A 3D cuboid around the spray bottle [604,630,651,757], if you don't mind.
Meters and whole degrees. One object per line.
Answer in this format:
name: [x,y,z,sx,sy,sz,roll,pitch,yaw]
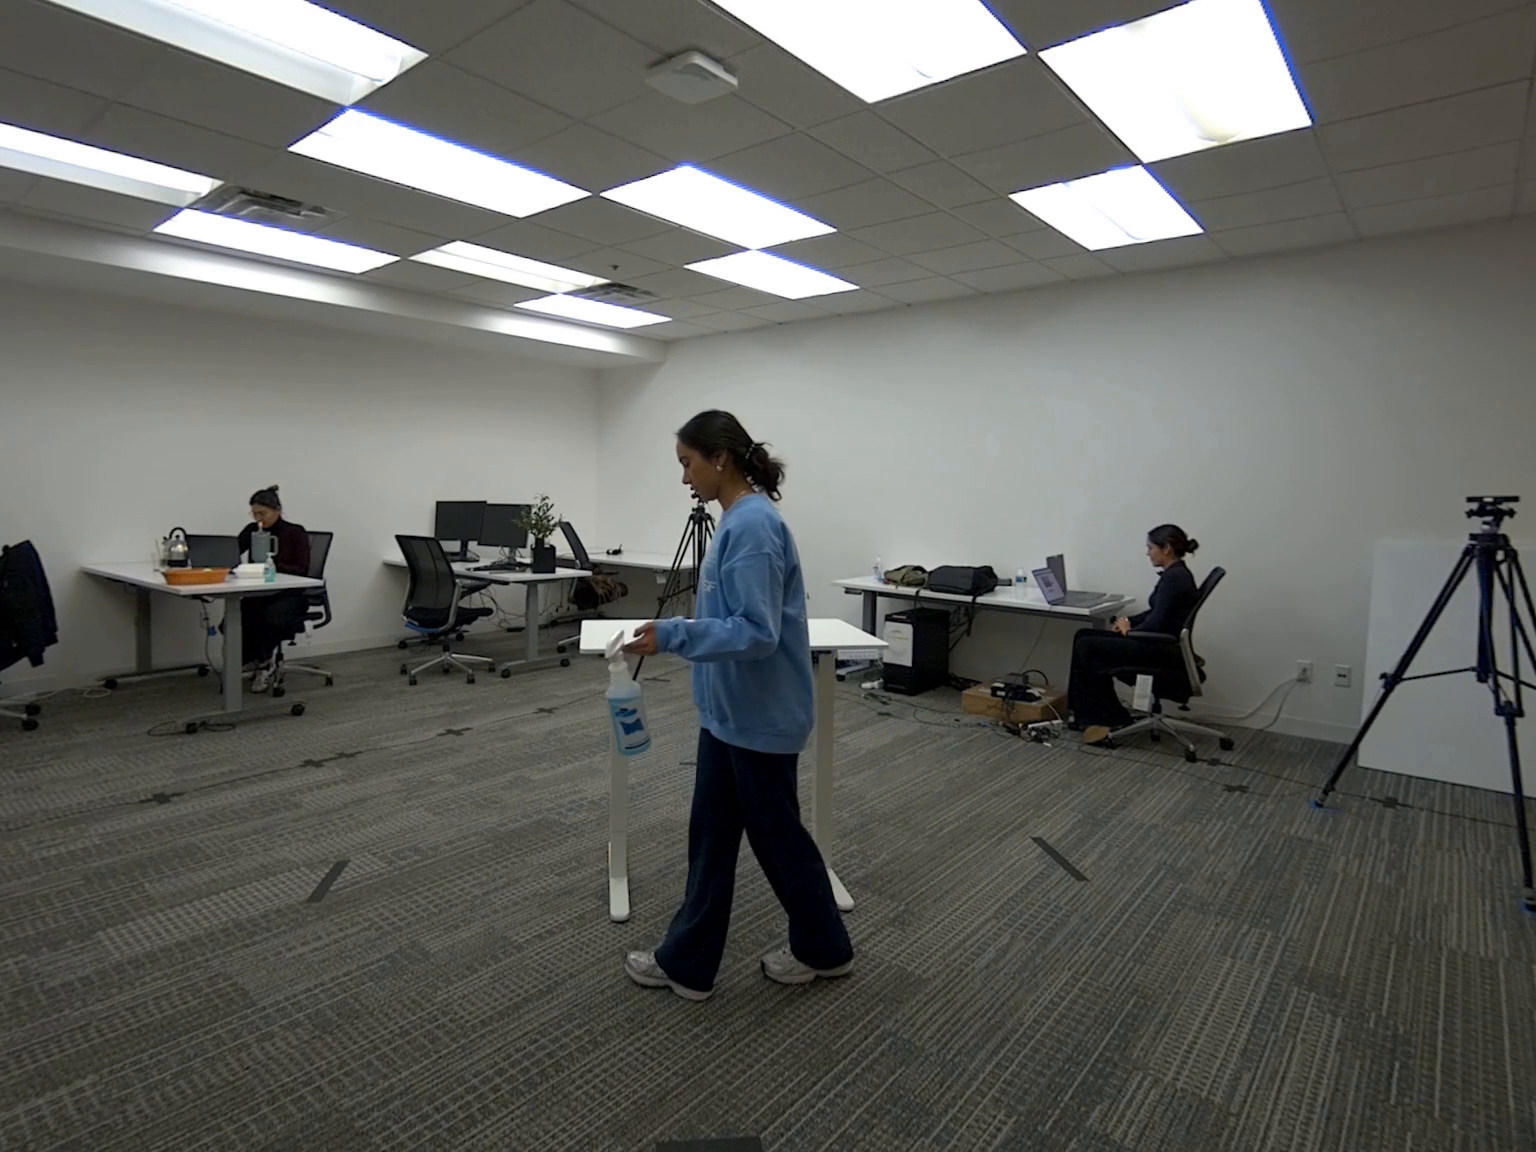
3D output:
spray bottle: [-0.357,0.279,2.063,0.090,0.293,0.088,4,17,45]
